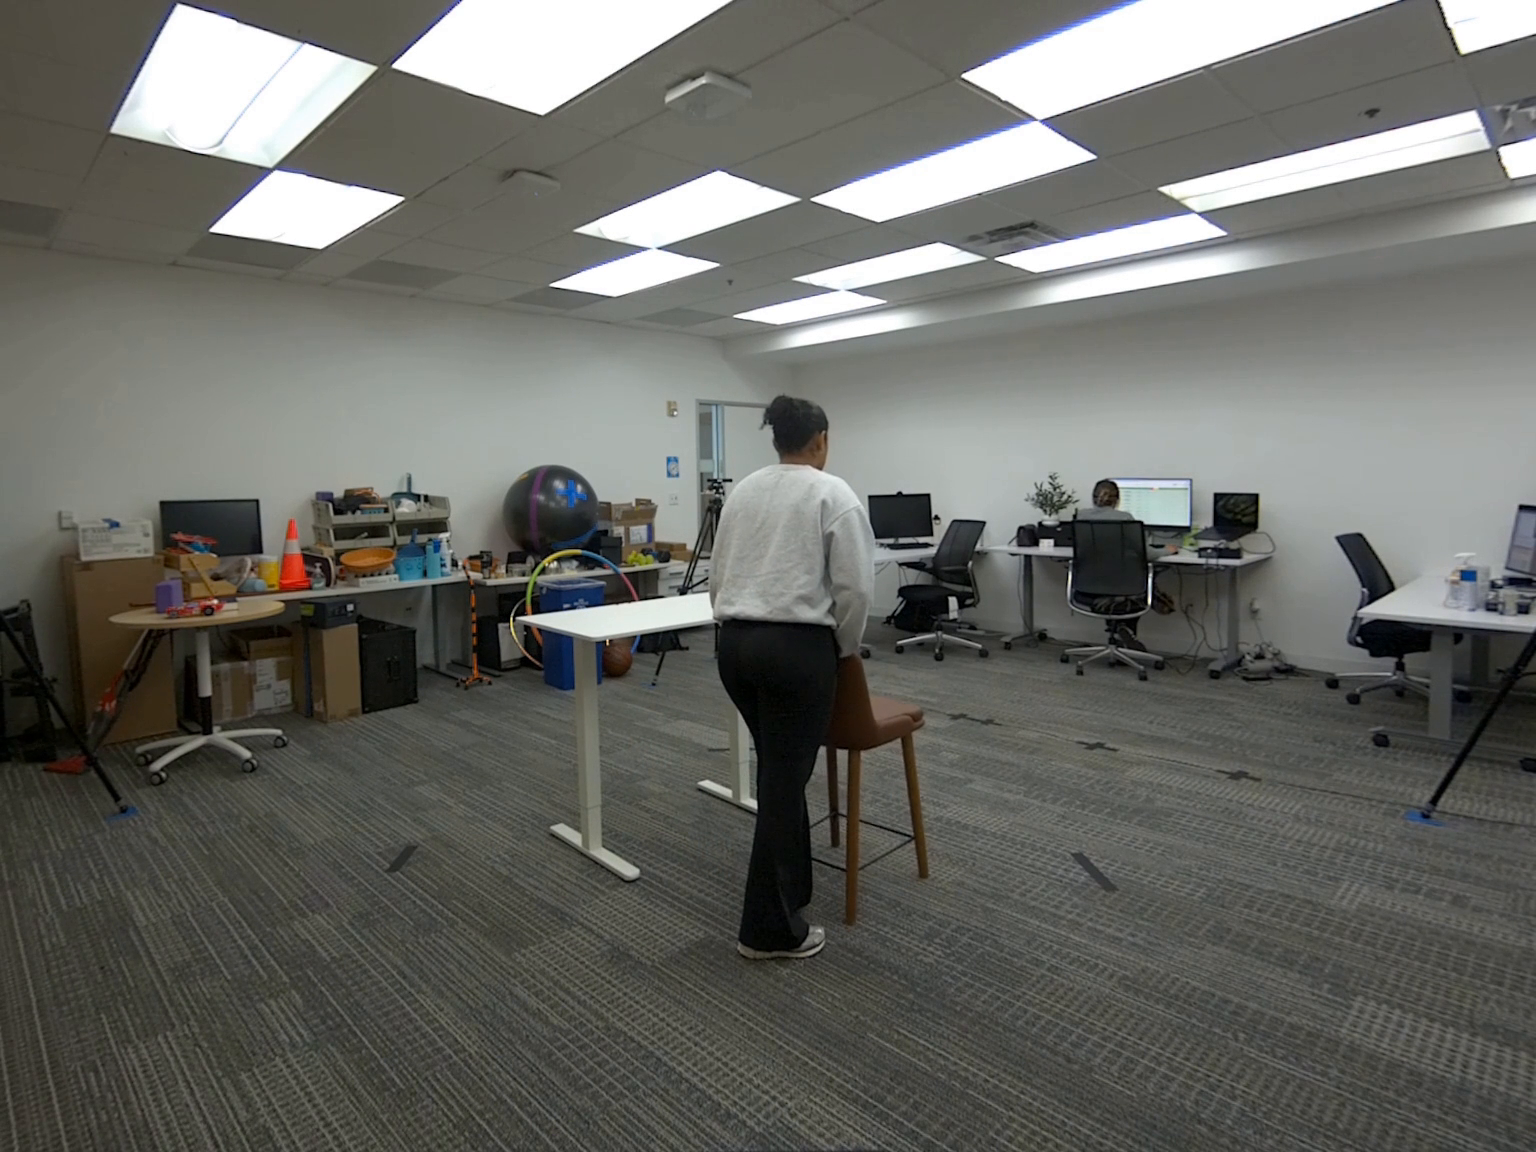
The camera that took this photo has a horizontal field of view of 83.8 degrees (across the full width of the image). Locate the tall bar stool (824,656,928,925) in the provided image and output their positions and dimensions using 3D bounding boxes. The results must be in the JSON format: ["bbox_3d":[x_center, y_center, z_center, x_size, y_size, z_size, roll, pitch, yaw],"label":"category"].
[{"bbox_3d":[0.260,0.624,2.931,0.470,0.885,0.456,3,7,42],"label":"tall bar stool"}]
